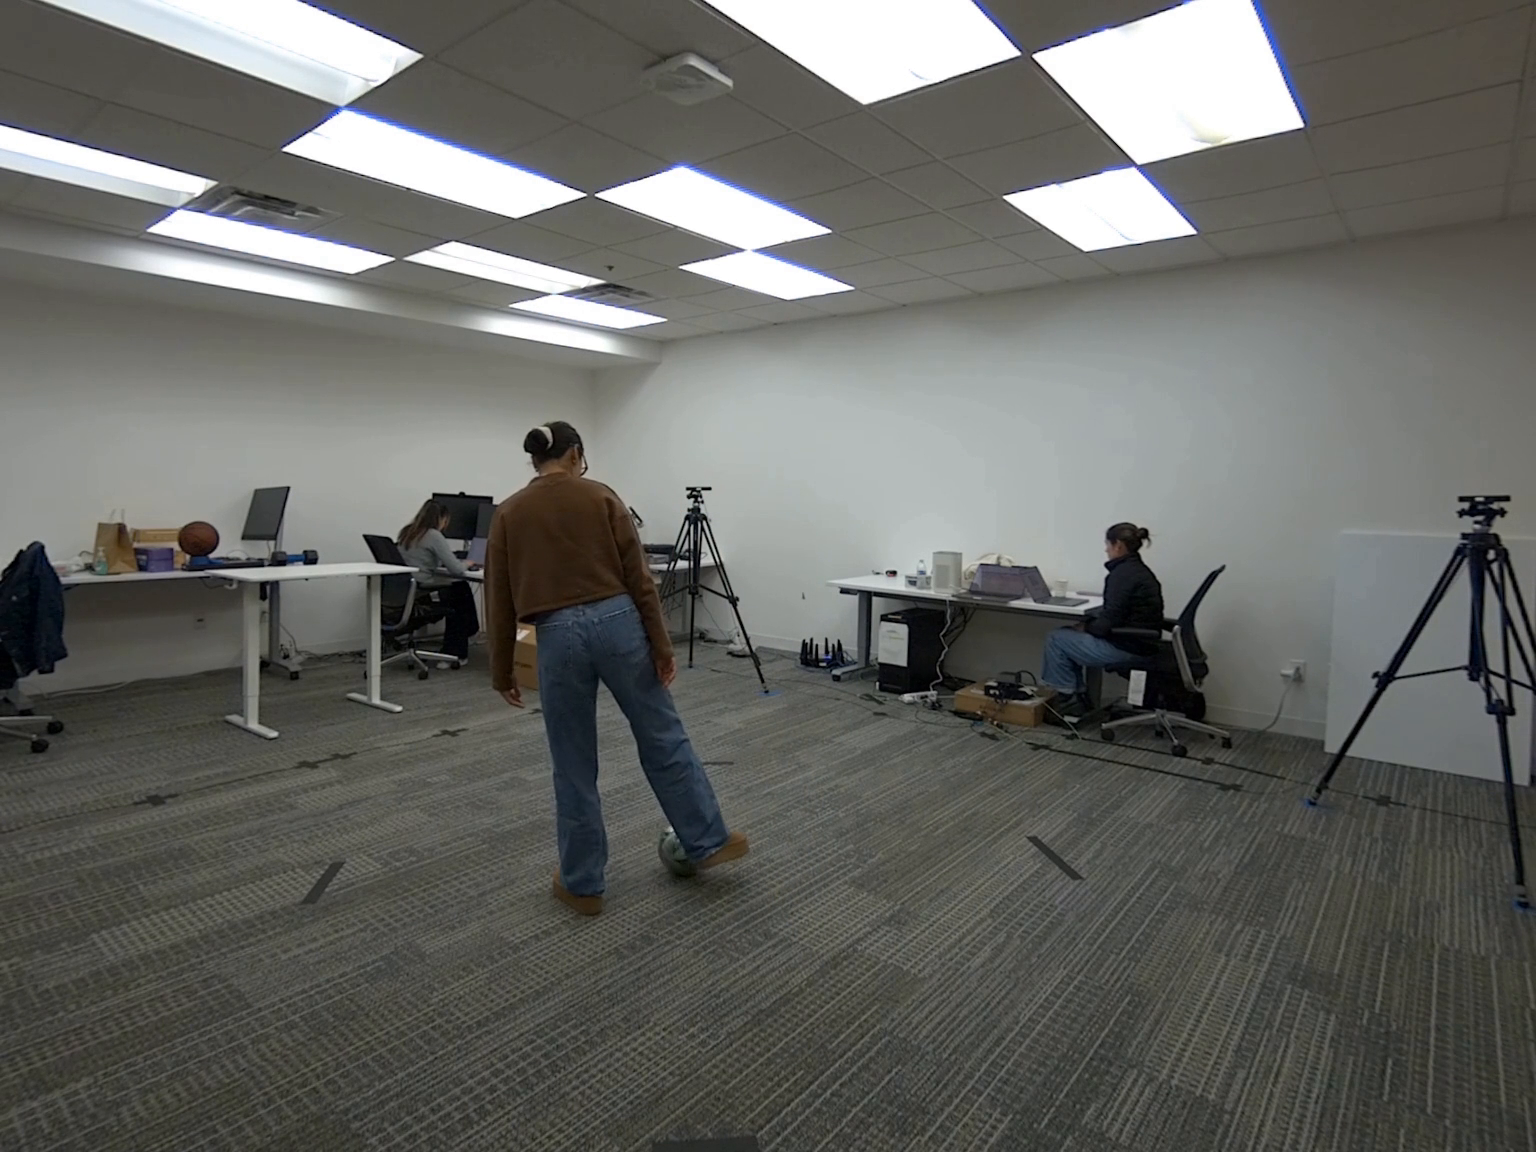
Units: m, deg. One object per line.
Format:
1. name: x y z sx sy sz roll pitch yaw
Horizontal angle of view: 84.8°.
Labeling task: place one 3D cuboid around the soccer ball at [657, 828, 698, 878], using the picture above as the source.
1. soccer ball: -0.321 0.970 3.073 0.187 0.187 0.188 1 4 -2
